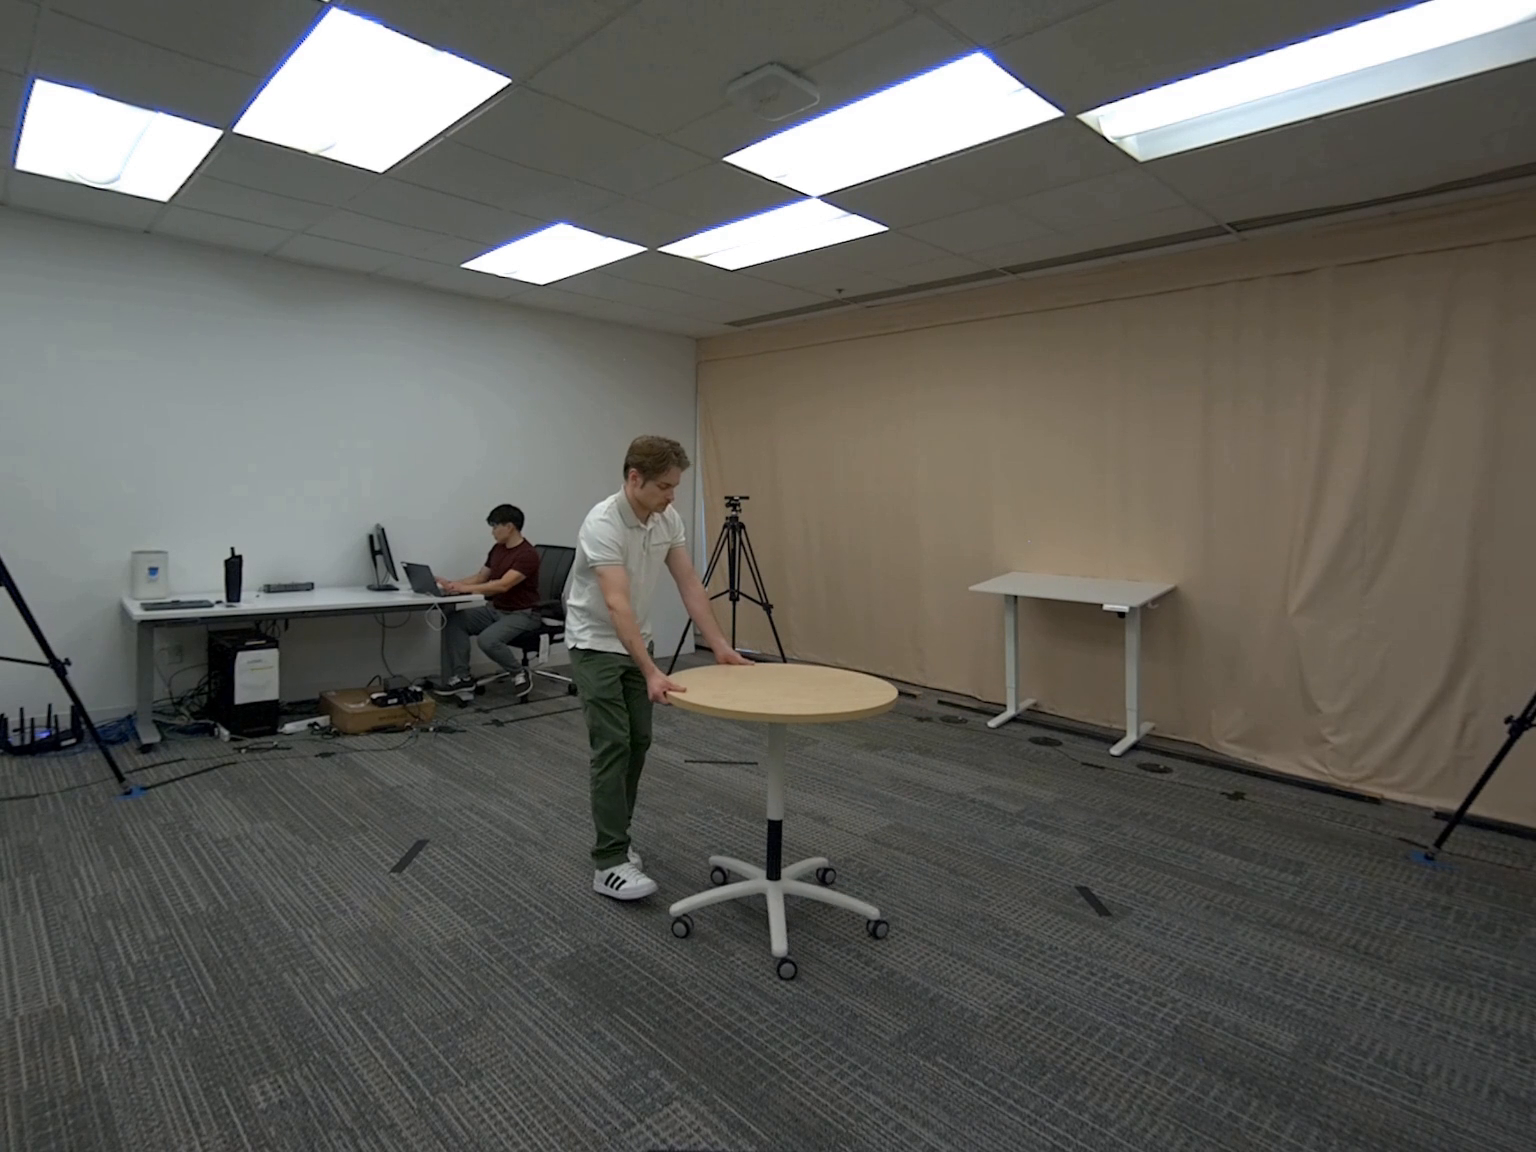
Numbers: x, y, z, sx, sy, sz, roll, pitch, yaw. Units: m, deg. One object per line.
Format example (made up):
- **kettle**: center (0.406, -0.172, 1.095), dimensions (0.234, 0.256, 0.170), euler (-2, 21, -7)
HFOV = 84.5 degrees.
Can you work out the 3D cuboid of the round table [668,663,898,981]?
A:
- **round table**: center (0.007, 0.745, 2.762), dimensions (0.784, 0.784, 0.788), euler (2, 4, -1)
